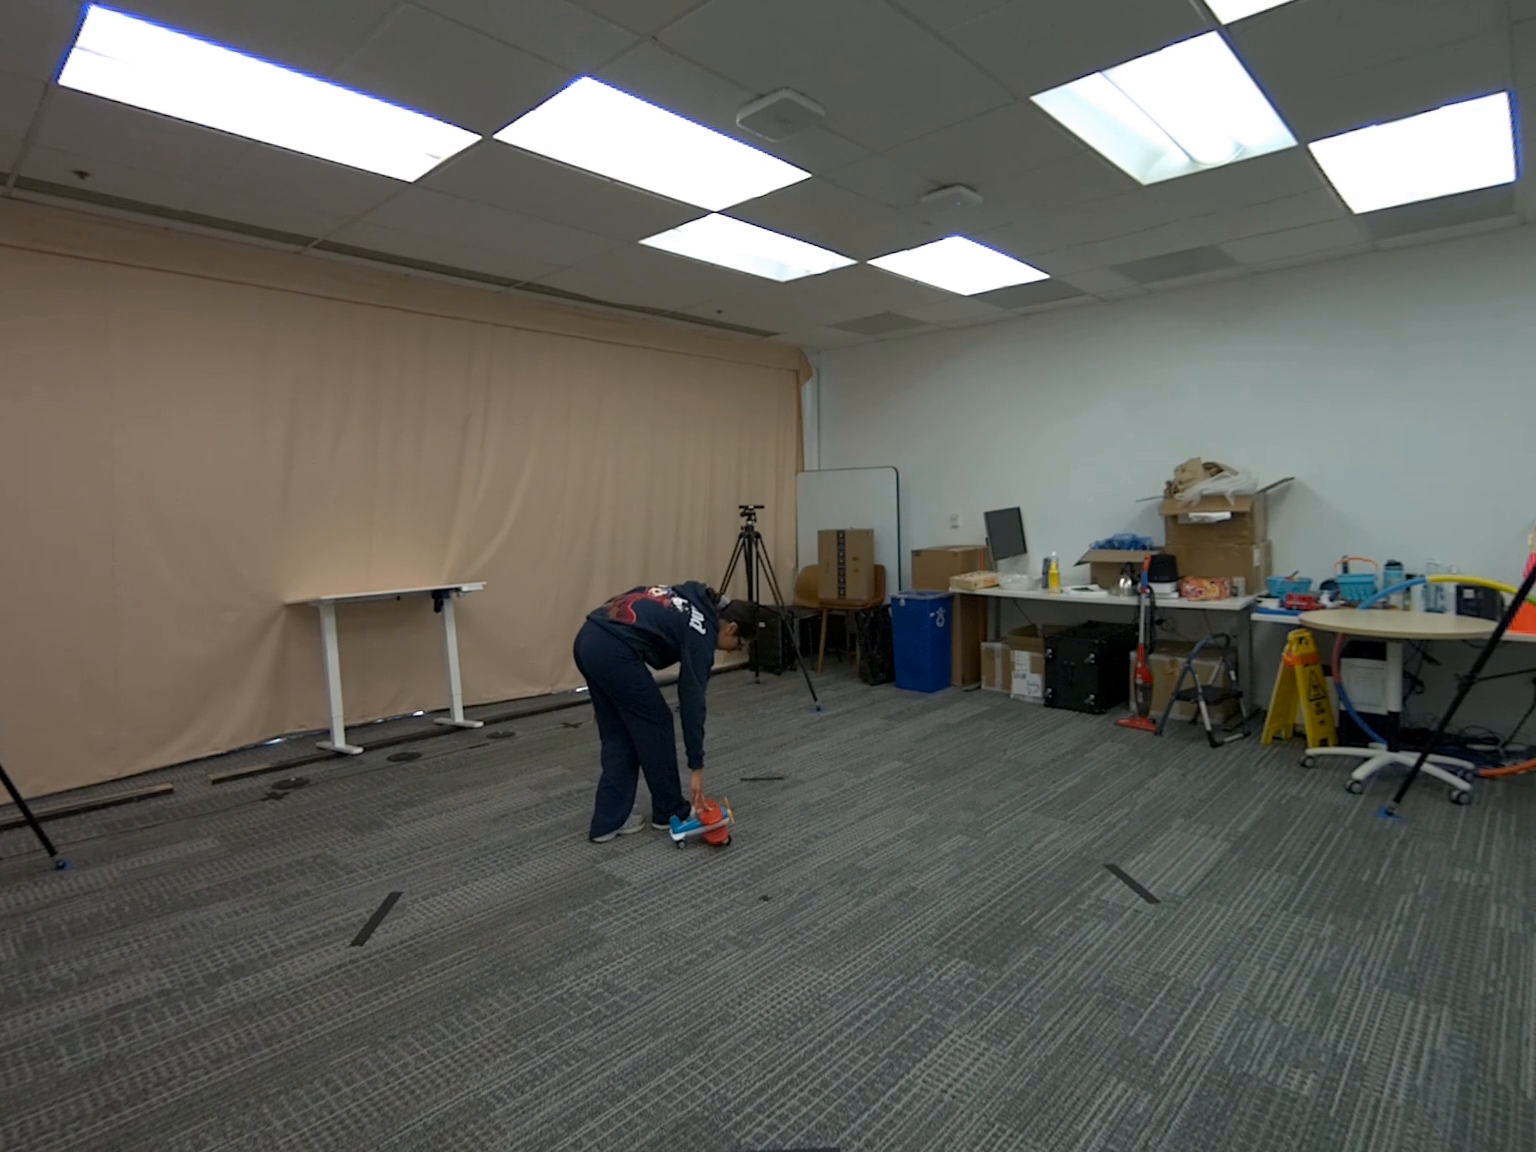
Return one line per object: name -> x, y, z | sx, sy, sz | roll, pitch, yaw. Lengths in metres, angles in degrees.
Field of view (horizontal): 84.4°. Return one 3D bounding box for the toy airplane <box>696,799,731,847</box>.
toy airplane -> -0.263, 1.031, 3.456 | 0.251, 0.156, 0.259 | -5, 7, -40
